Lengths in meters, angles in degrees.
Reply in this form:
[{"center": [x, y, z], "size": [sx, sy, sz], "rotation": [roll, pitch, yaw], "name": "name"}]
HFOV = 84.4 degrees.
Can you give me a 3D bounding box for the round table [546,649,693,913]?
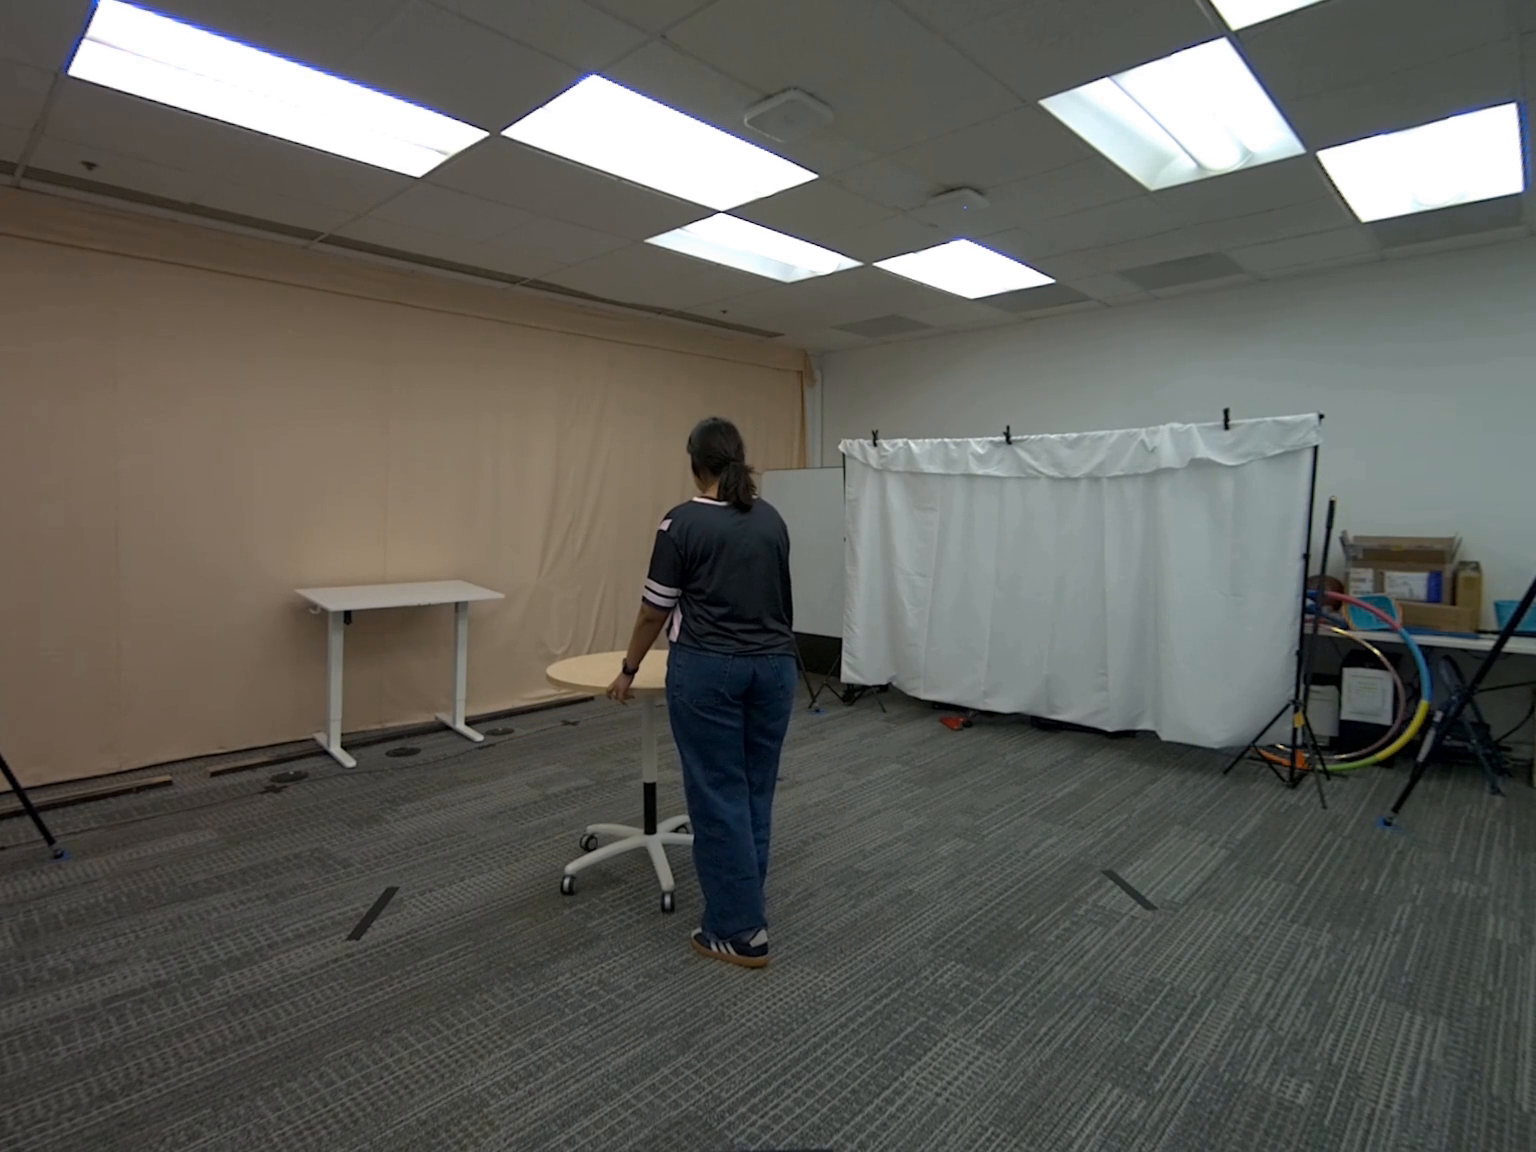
[{"center": [-0.451, 0.735, 3.199], "size": [0.784, 0.785, 0.787], "rotation": [0, 3, -2], "name": "round table"}]
